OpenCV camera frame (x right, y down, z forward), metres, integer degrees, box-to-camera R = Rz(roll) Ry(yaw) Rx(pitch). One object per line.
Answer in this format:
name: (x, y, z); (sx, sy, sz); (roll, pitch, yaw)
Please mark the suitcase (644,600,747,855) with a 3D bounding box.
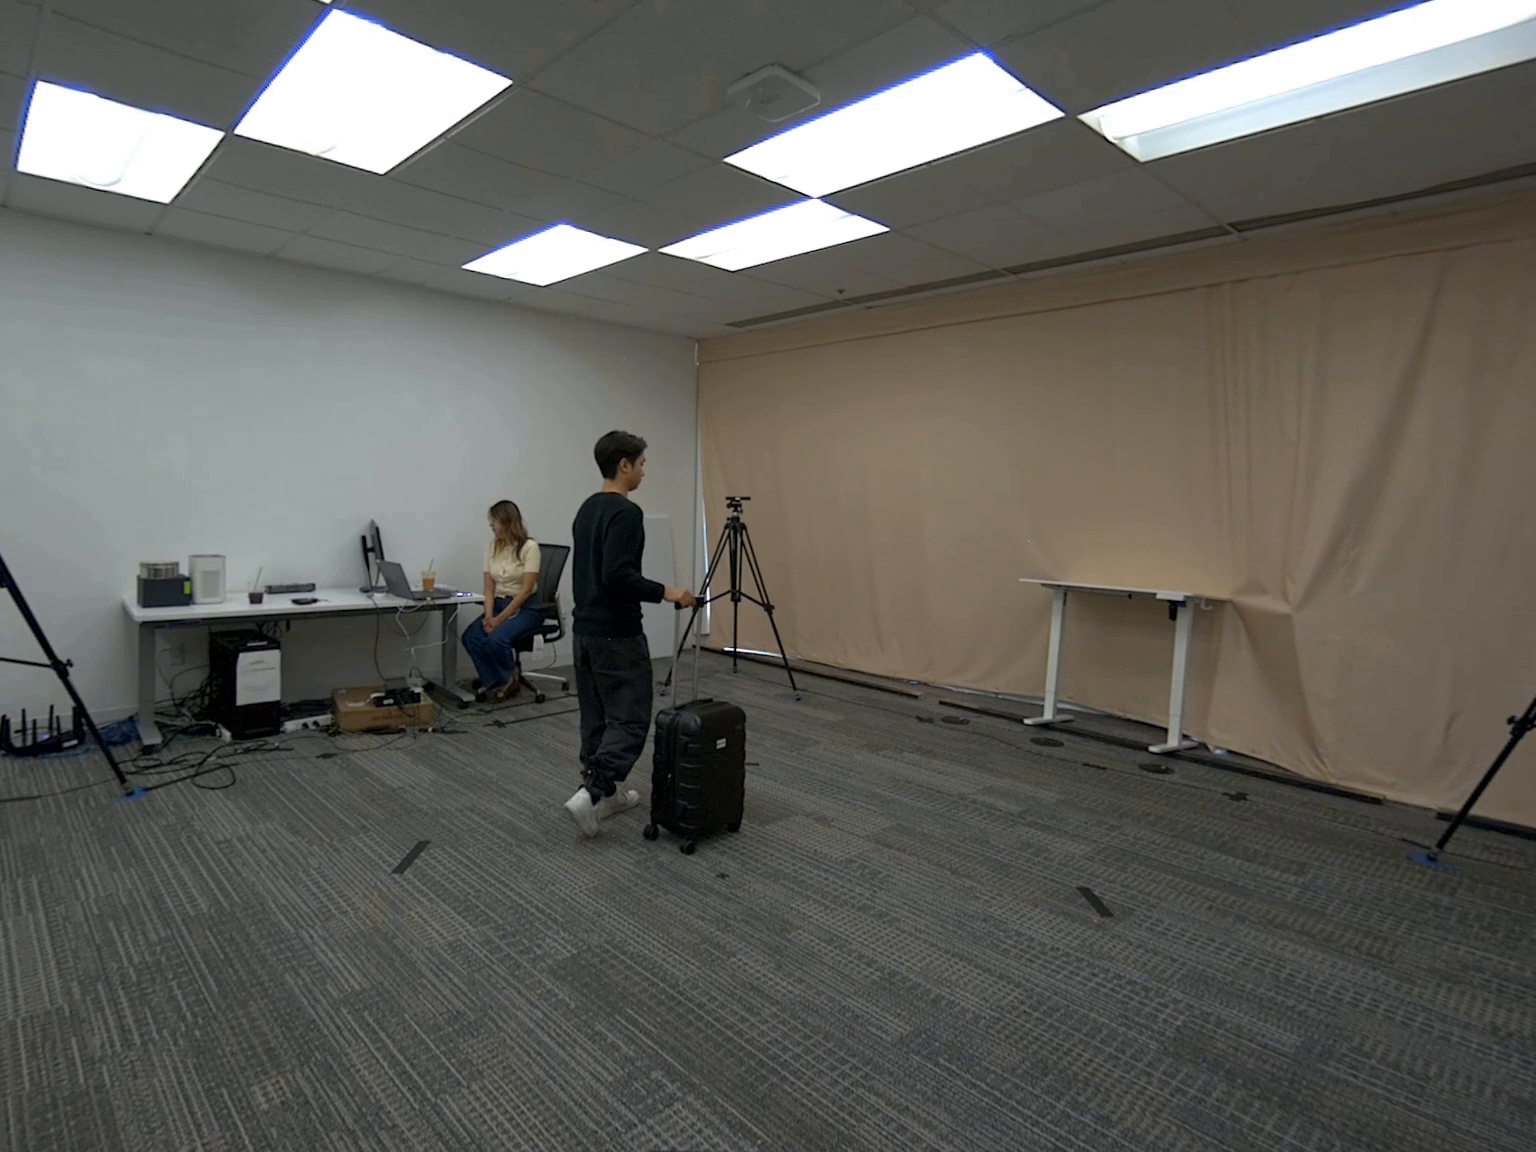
suitcase: (-0.274, 0.596, 3.460); (0.264, 0.976, 0.375); (7, 4, 39)
